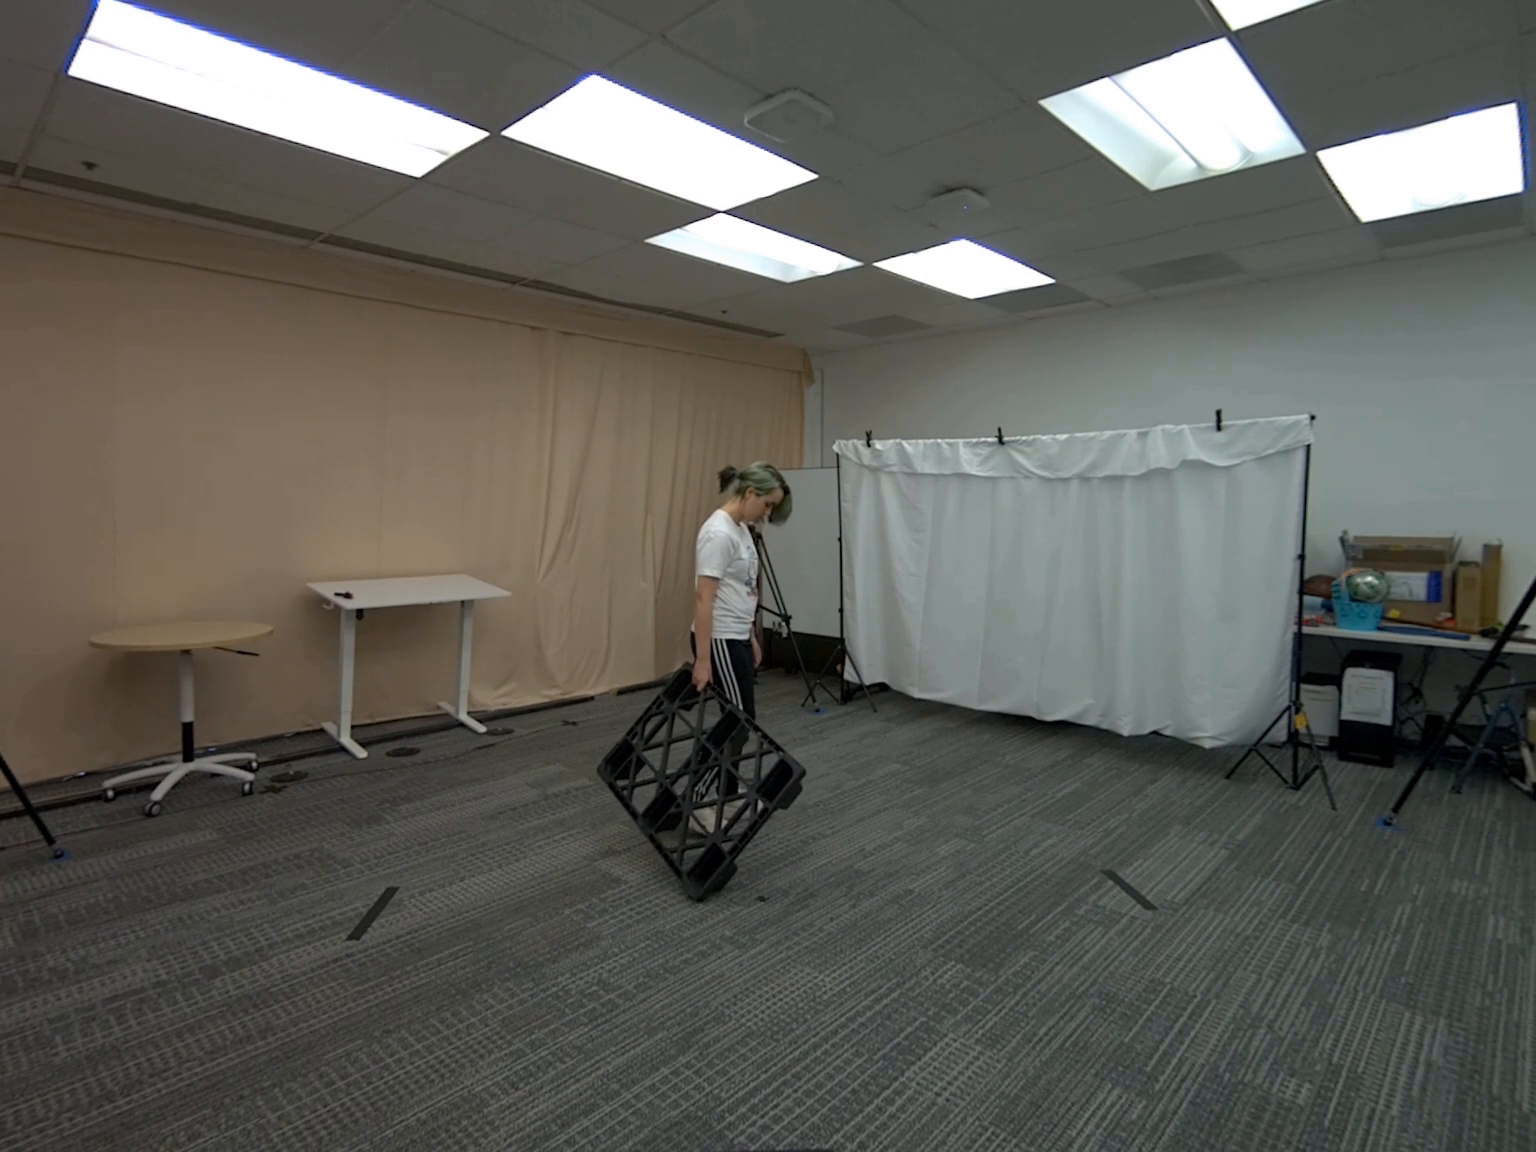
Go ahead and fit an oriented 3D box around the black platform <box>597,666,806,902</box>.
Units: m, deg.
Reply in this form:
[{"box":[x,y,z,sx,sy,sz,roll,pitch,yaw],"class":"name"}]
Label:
[{"box":[-0.268,0.780,3.293,0.836,0.604,0.138,34,-7,45],"class":"black platform"}]
